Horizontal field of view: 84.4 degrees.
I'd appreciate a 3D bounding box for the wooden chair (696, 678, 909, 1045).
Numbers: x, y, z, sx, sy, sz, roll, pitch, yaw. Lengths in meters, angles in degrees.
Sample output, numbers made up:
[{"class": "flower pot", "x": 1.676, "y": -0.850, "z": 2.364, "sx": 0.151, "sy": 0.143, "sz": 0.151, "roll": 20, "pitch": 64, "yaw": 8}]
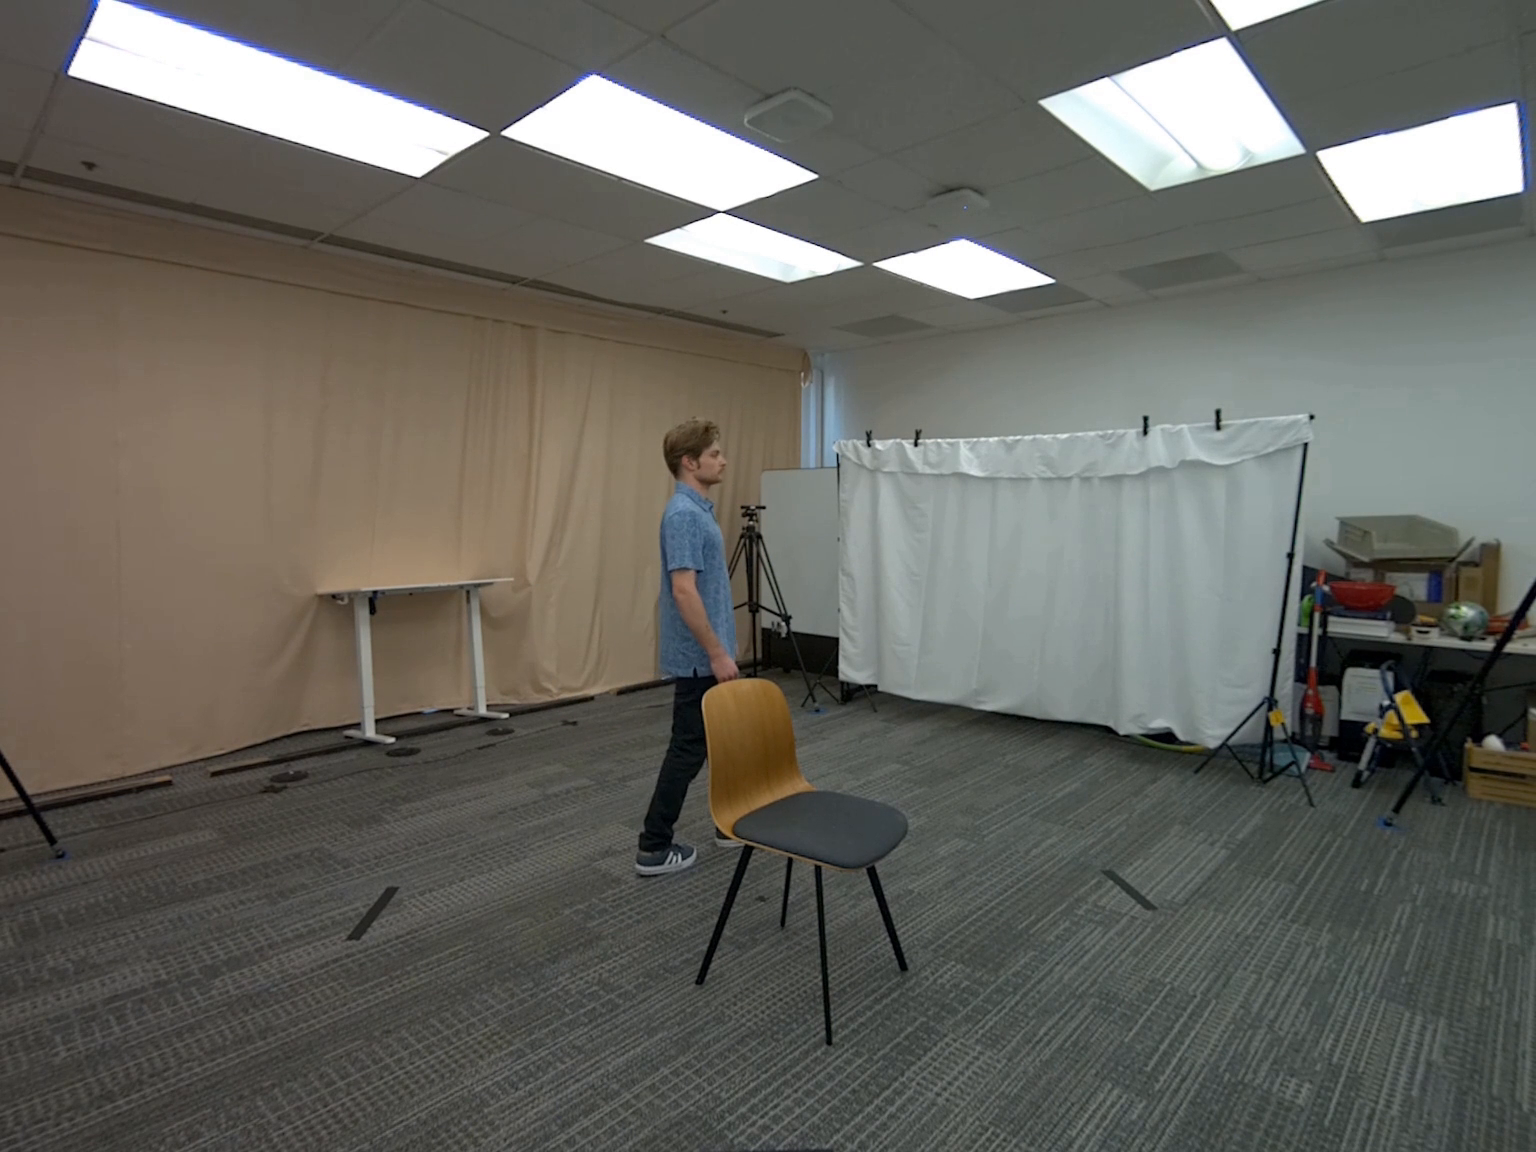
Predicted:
[{"class": "wooden chair", "x": 0.117, "y": 0.760, "z": 2.450, "sx": 0.539, "sy": 0.877, "sz": 0.464, "roll": -4, "pitch": 0, "yaw": 37}]
